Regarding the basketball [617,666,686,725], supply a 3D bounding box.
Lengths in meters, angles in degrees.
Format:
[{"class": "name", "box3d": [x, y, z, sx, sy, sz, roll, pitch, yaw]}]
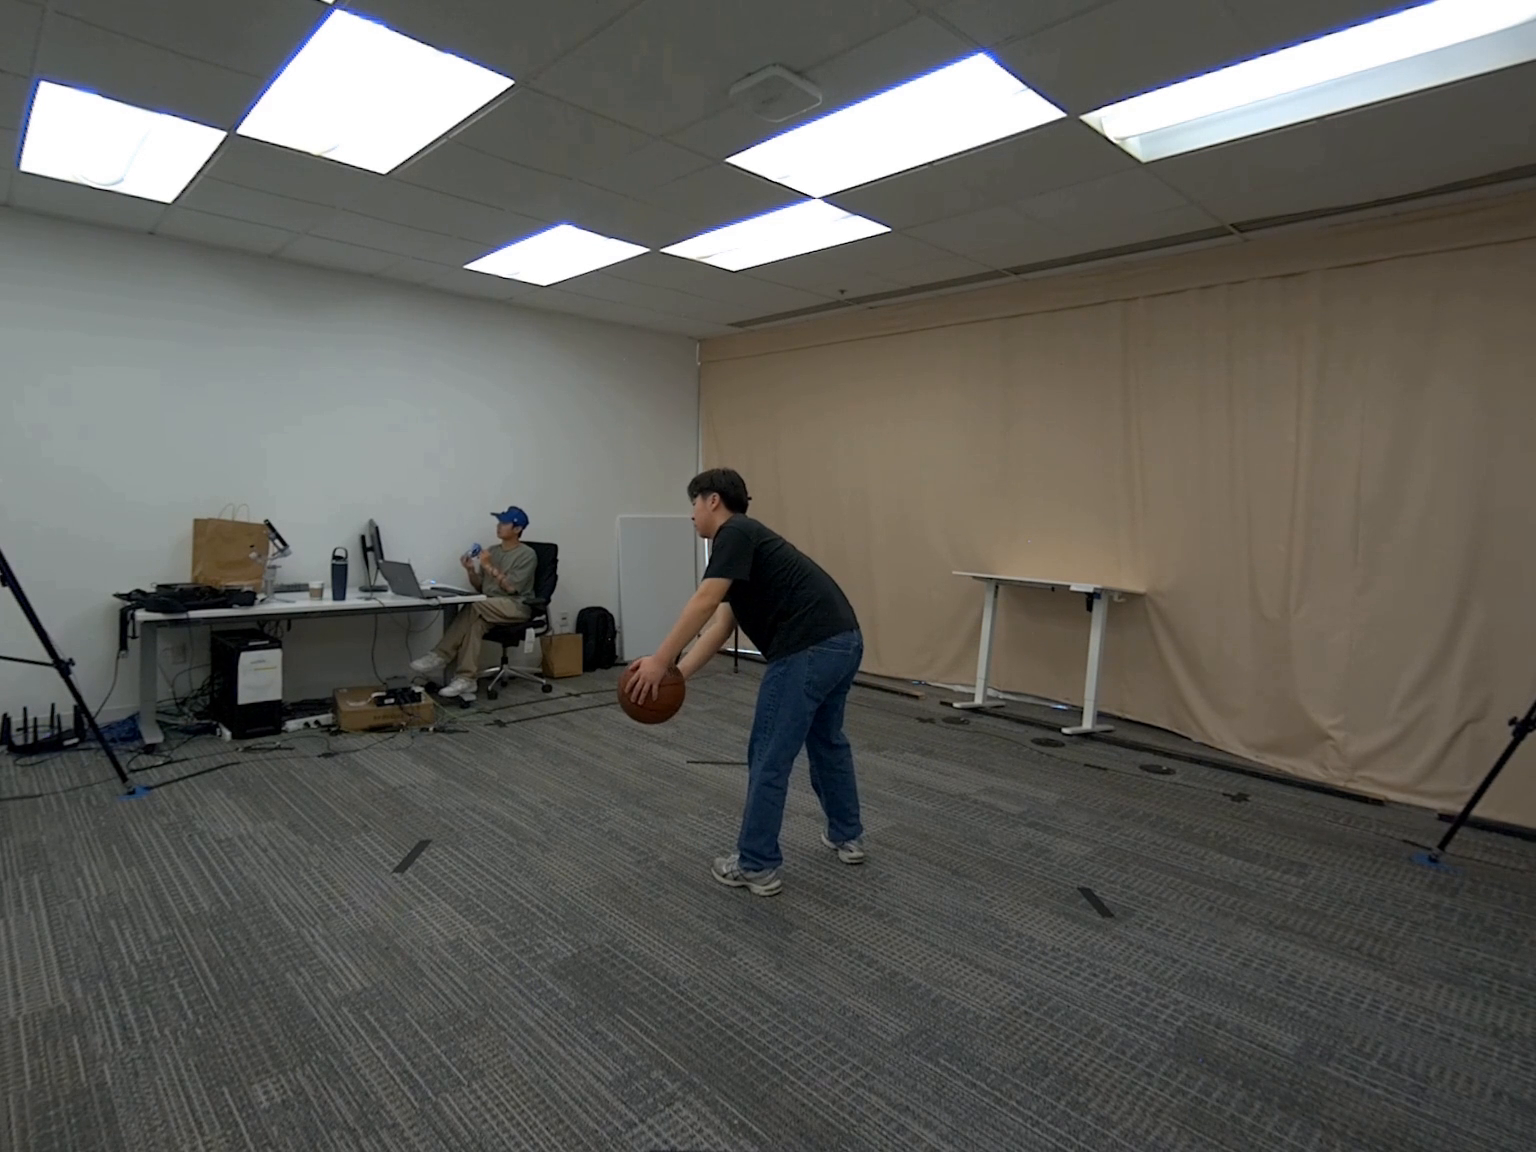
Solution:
[{"class": "basketball", "box3d": [-0.401, 0.405, 2.941, 0.236, 0.235, 0.237, 1, 4, -1]}]
